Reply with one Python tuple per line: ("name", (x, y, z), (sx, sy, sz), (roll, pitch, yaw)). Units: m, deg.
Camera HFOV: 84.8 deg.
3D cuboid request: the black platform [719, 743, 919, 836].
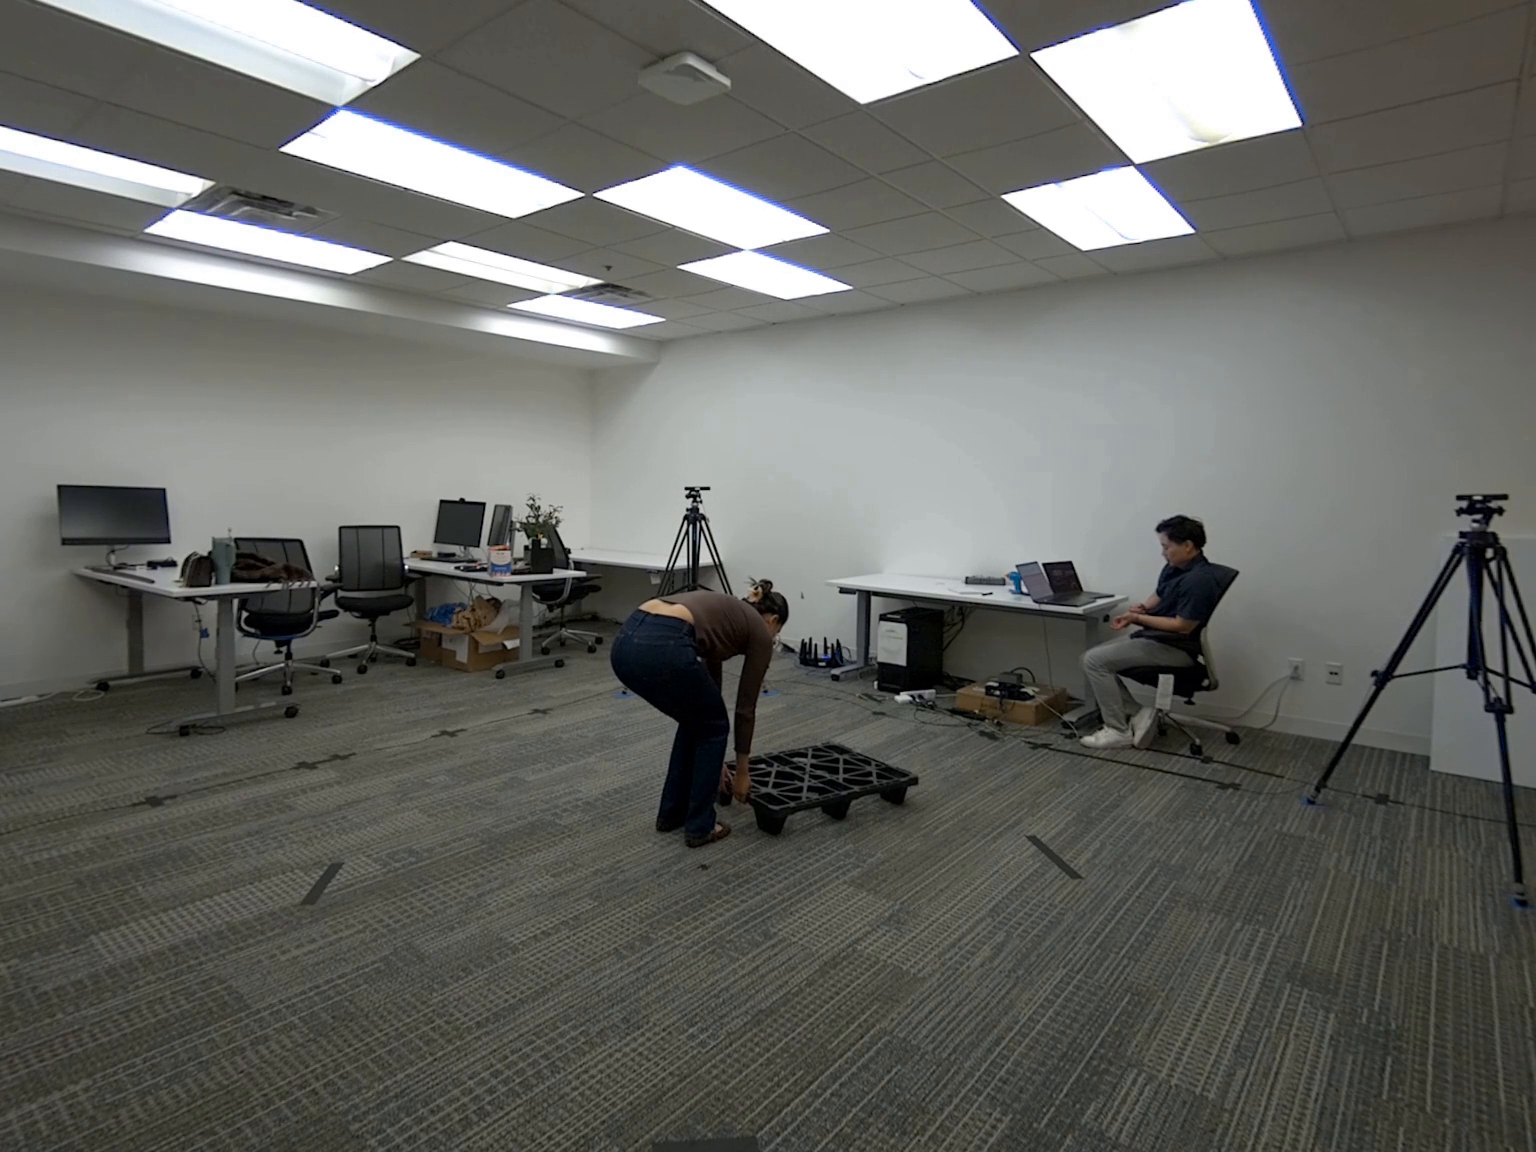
("black platform", (0.163, 0.935, 3.805), (0.783, 0.143, 0.625), (-2, 6, -34))
